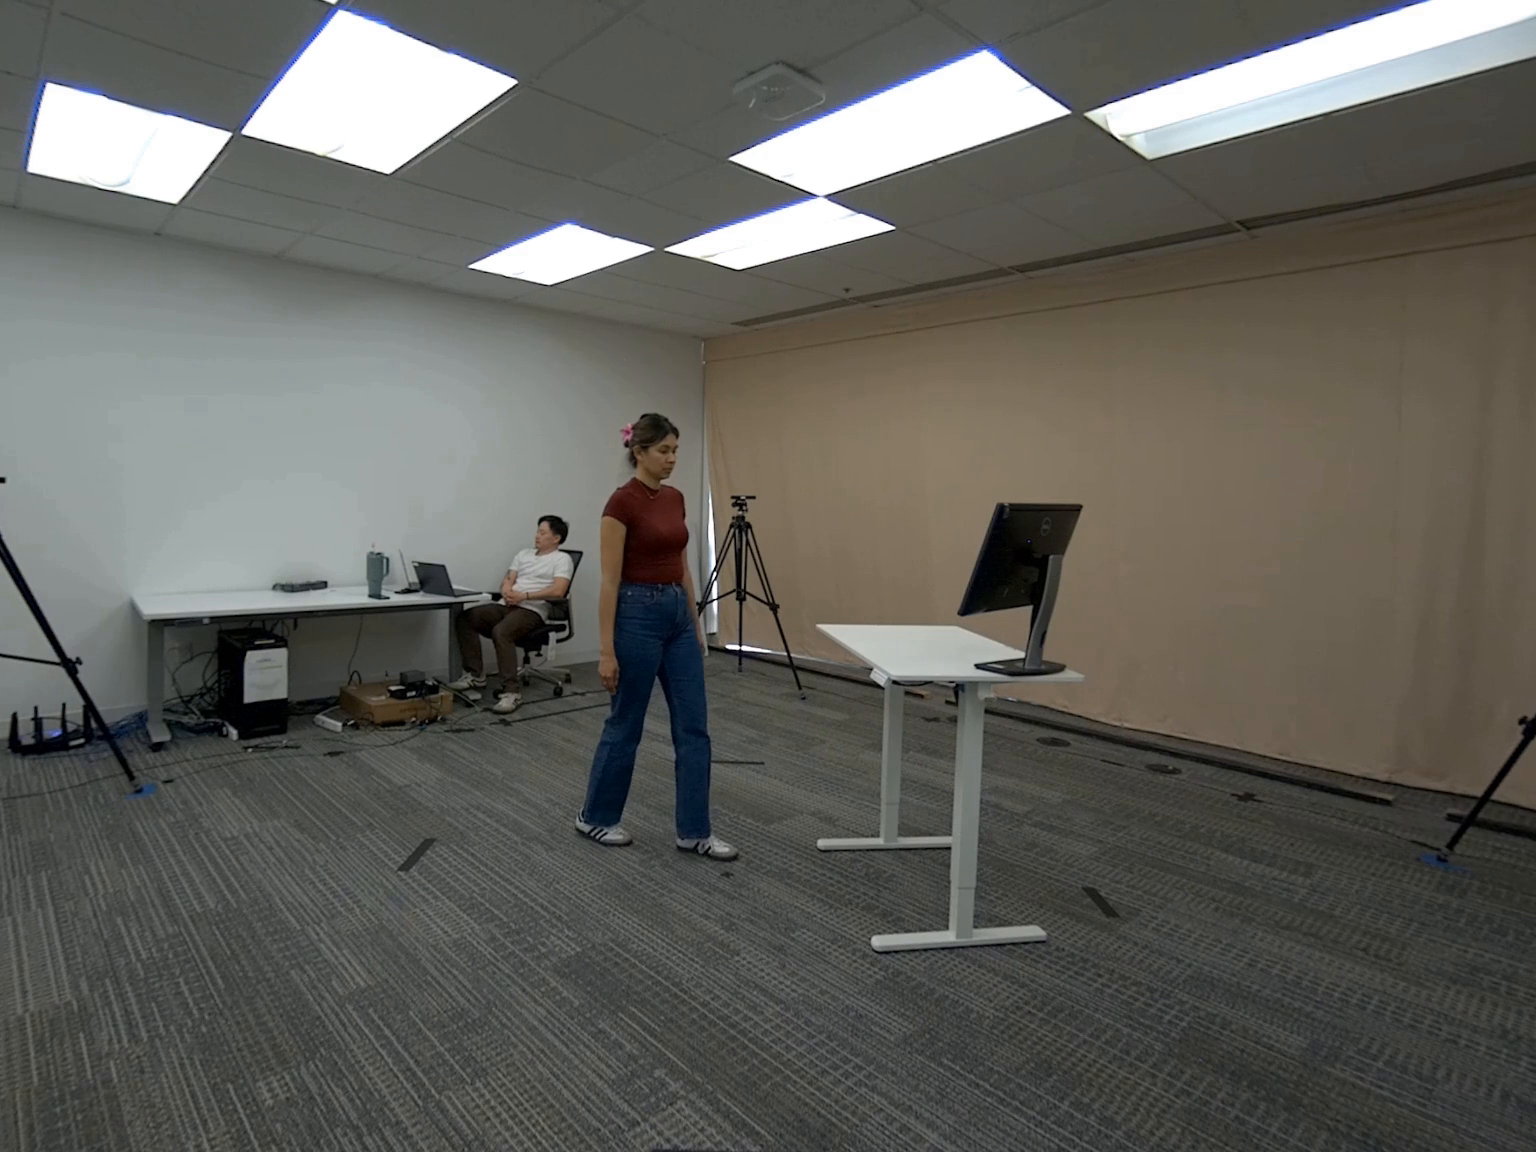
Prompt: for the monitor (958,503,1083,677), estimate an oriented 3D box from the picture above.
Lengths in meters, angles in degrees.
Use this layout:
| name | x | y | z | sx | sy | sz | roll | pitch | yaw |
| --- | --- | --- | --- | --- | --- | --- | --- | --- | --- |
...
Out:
| name | x | y | z | sx | sy | sz | roll | pitch | yaw |
| --- | --- | --- | --- | --- | --- | --- | --- | --- | --- |
| monitor | 0.805 | 0.038 | 2.582 | 0.192 | 0.520 | 0.527 | 9 | 9 | 42 |
